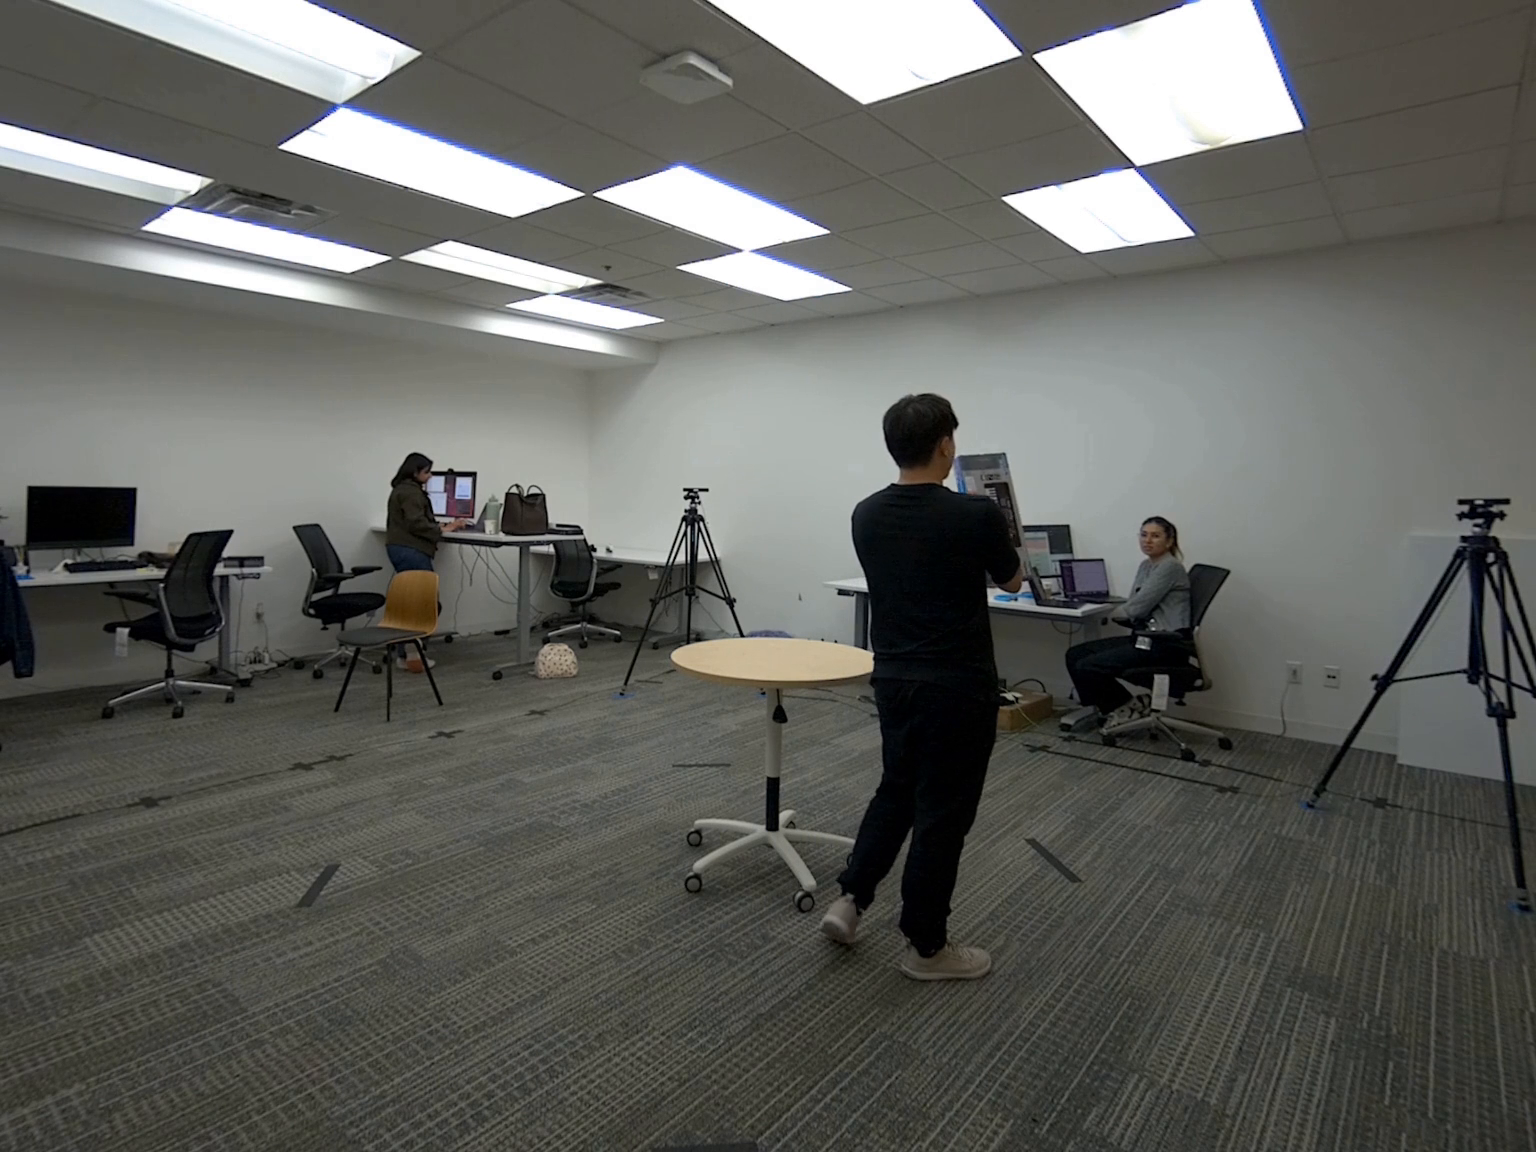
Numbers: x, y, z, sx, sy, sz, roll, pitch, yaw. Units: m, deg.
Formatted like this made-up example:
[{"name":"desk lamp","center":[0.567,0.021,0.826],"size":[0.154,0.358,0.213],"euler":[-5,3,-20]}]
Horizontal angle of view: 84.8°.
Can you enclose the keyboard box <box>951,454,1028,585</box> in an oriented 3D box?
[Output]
[{"name":"keyboard box","center":[0.735,-0.193,2.825],"size":[0.174,0.444,0.059],"euler":[-2,-16,-9]}]
